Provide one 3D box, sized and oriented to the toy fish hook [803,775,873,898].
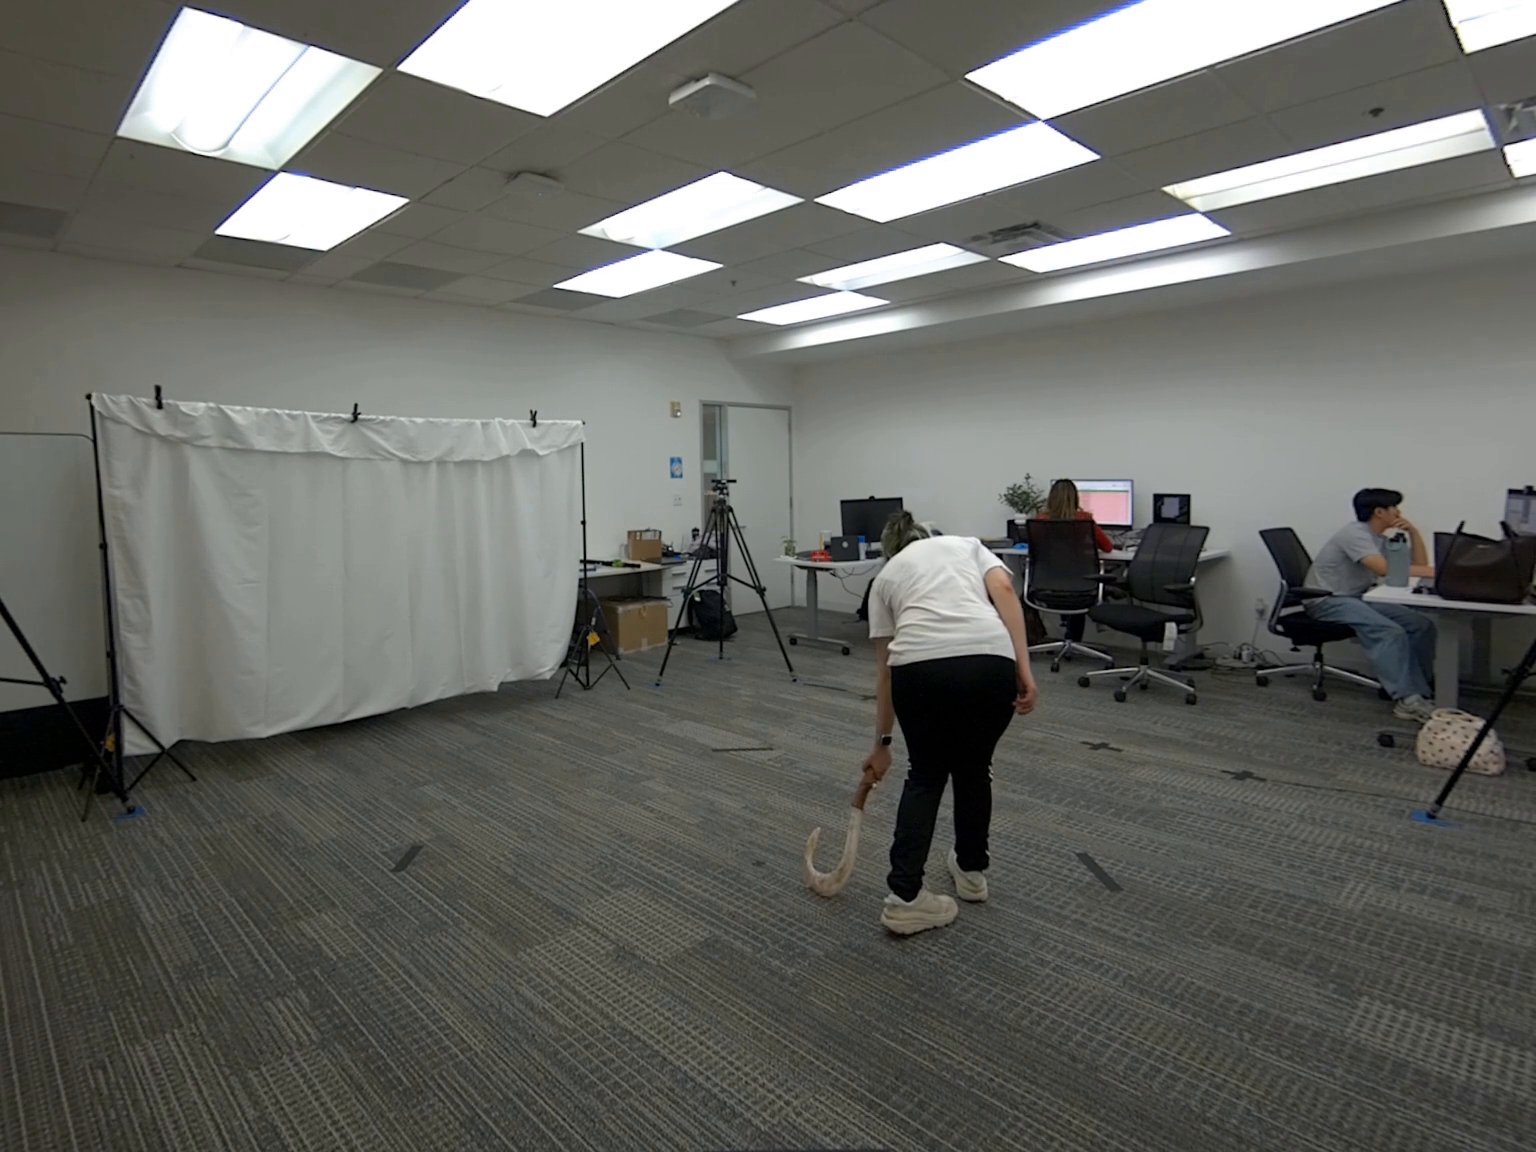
[{"bbox_3d":[0.261,0.843,2.941,0.046,0.510,0.231,35,-19,-37],"label":"toy fish hook"}]
